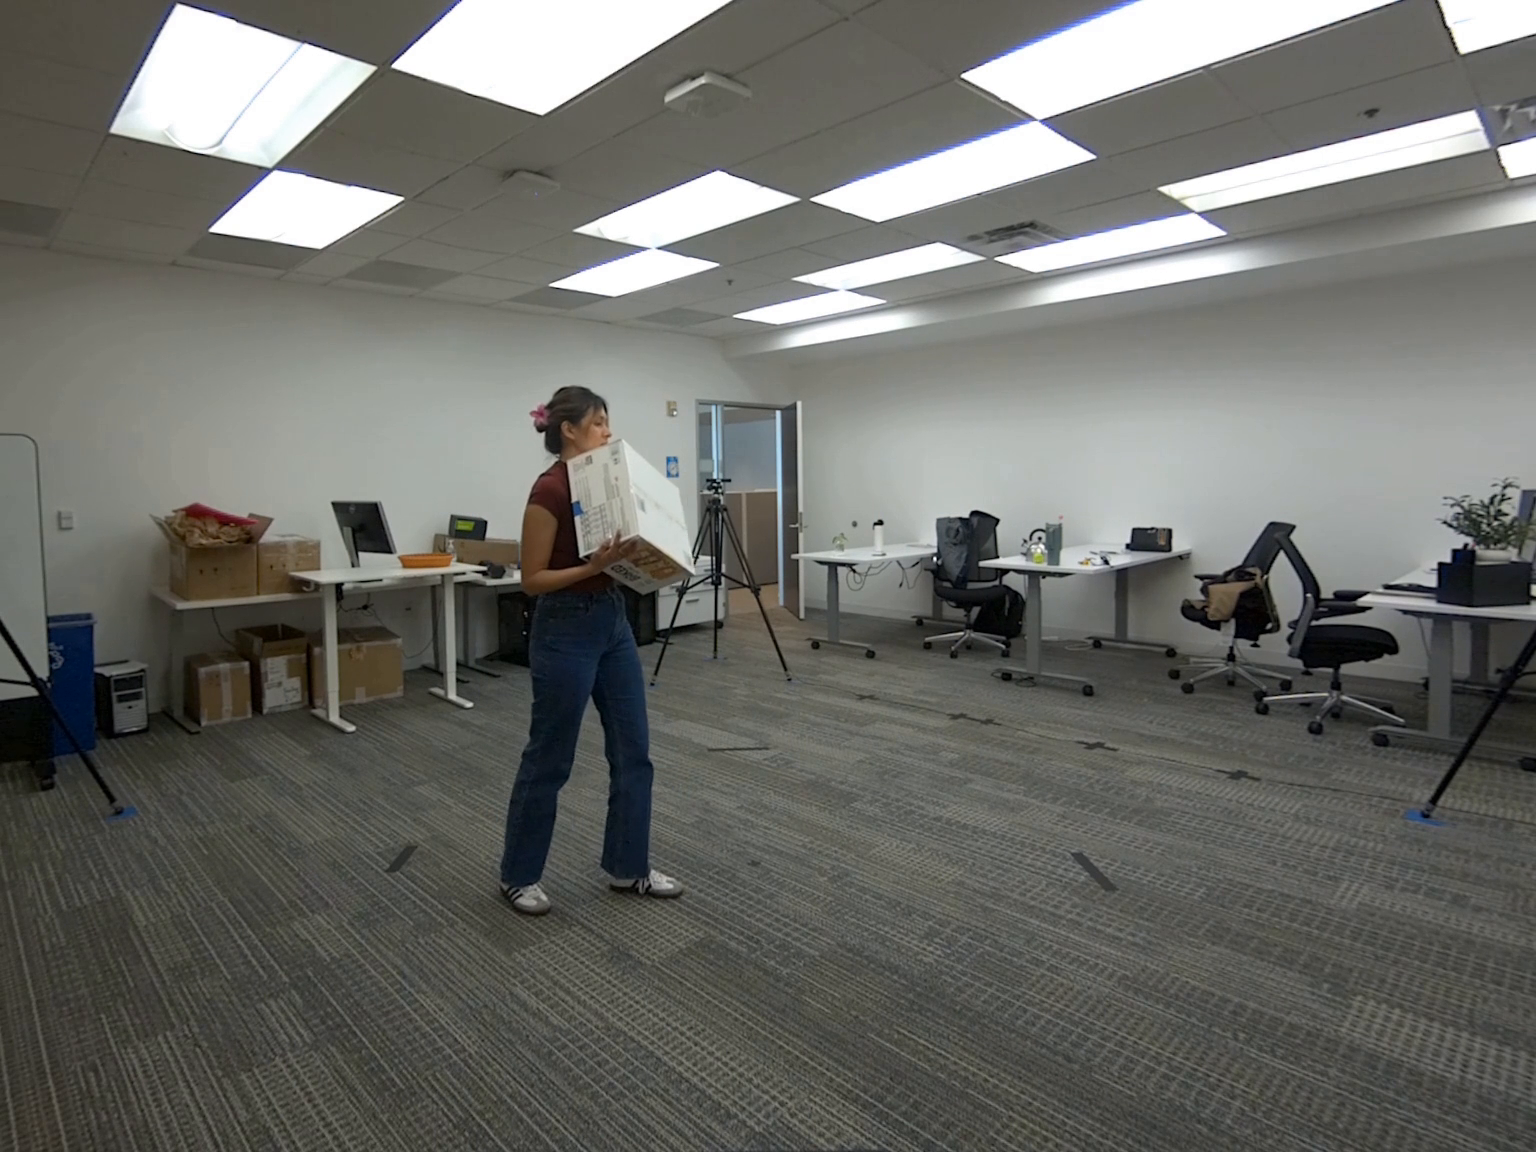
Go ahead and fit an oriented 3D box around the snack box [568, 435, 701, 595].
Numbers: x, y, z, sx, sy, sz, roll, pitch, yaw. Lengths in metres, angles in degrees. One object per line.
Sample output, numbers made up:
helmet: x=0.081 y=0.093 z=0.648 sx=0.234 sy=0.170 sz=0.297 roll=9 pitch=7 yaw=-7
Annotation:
snack box: x=-0.425 y=-0.185 z=2.735 sx=0.208 sy=0.349 sz=0.391 roll=-20 pitch=-25 yaw=16
